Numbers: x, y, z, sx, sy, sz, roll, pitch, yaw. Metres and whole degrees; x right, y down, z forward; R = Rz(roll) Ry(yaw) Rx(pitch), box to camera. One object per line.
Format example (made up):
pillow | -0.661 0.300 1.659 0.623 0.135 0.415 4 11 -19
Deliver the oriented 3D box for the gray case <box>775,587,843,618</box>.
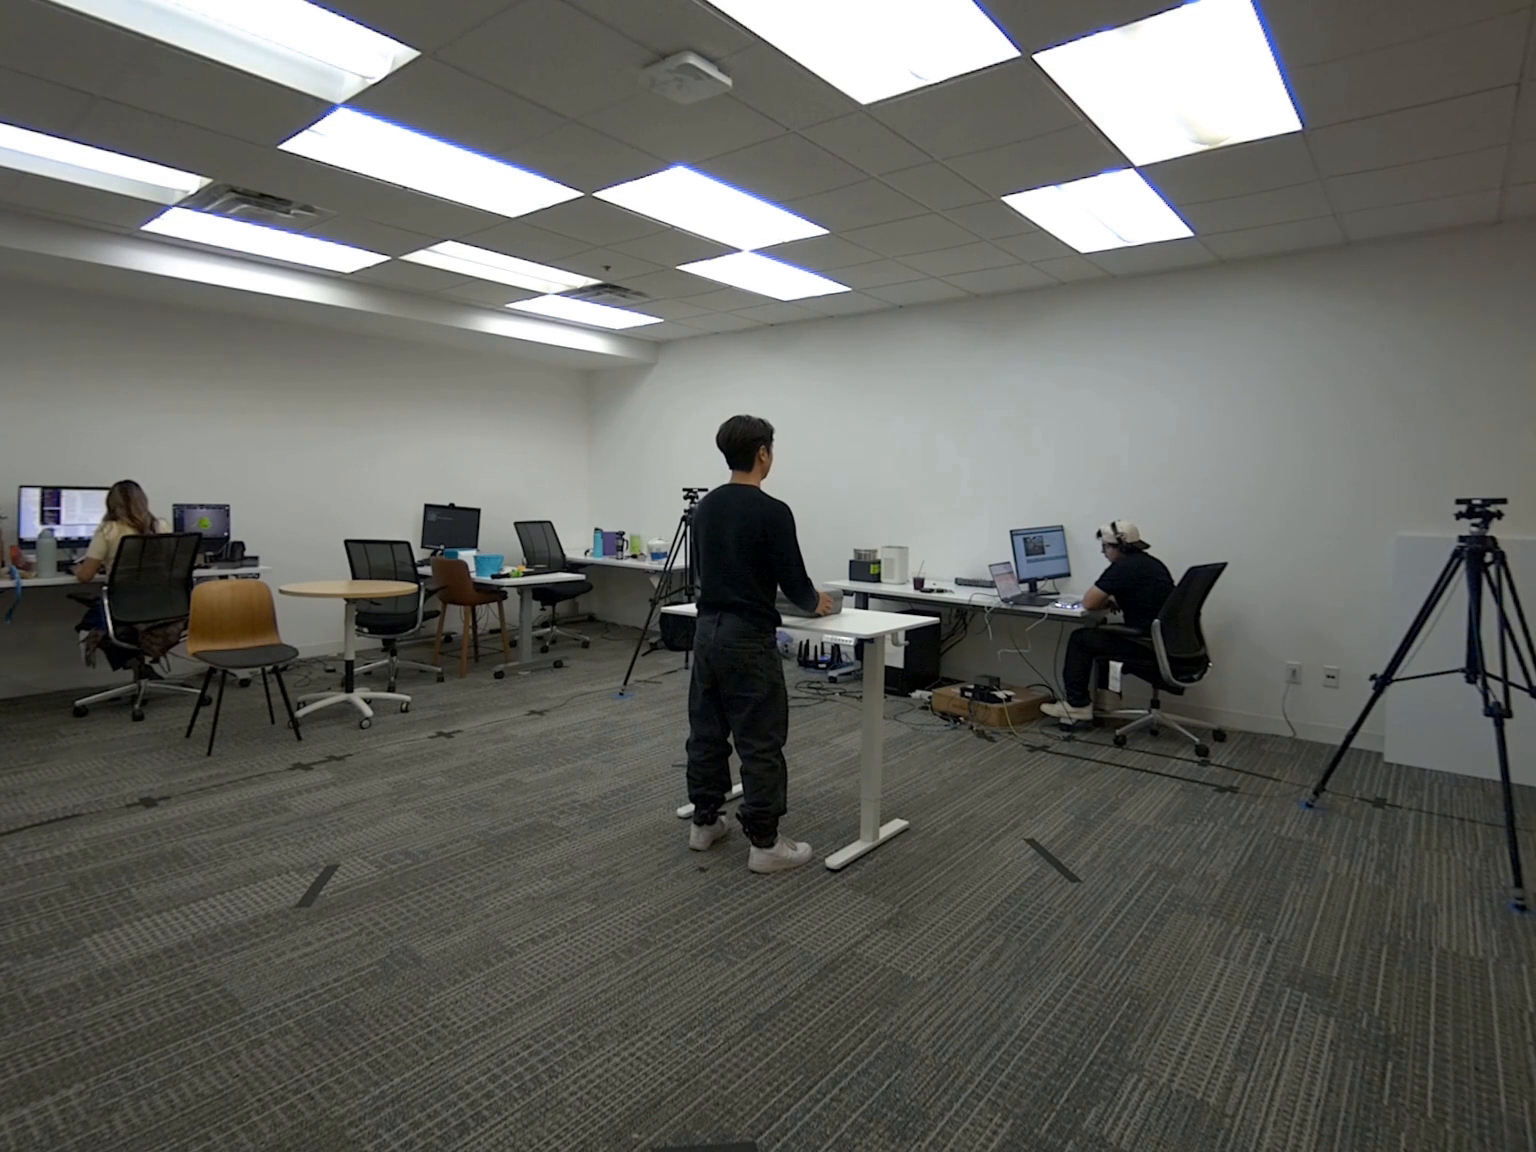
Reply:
gray case | 0.142 0.101 3.557 0.266 0.104 0.253 7 7 43
